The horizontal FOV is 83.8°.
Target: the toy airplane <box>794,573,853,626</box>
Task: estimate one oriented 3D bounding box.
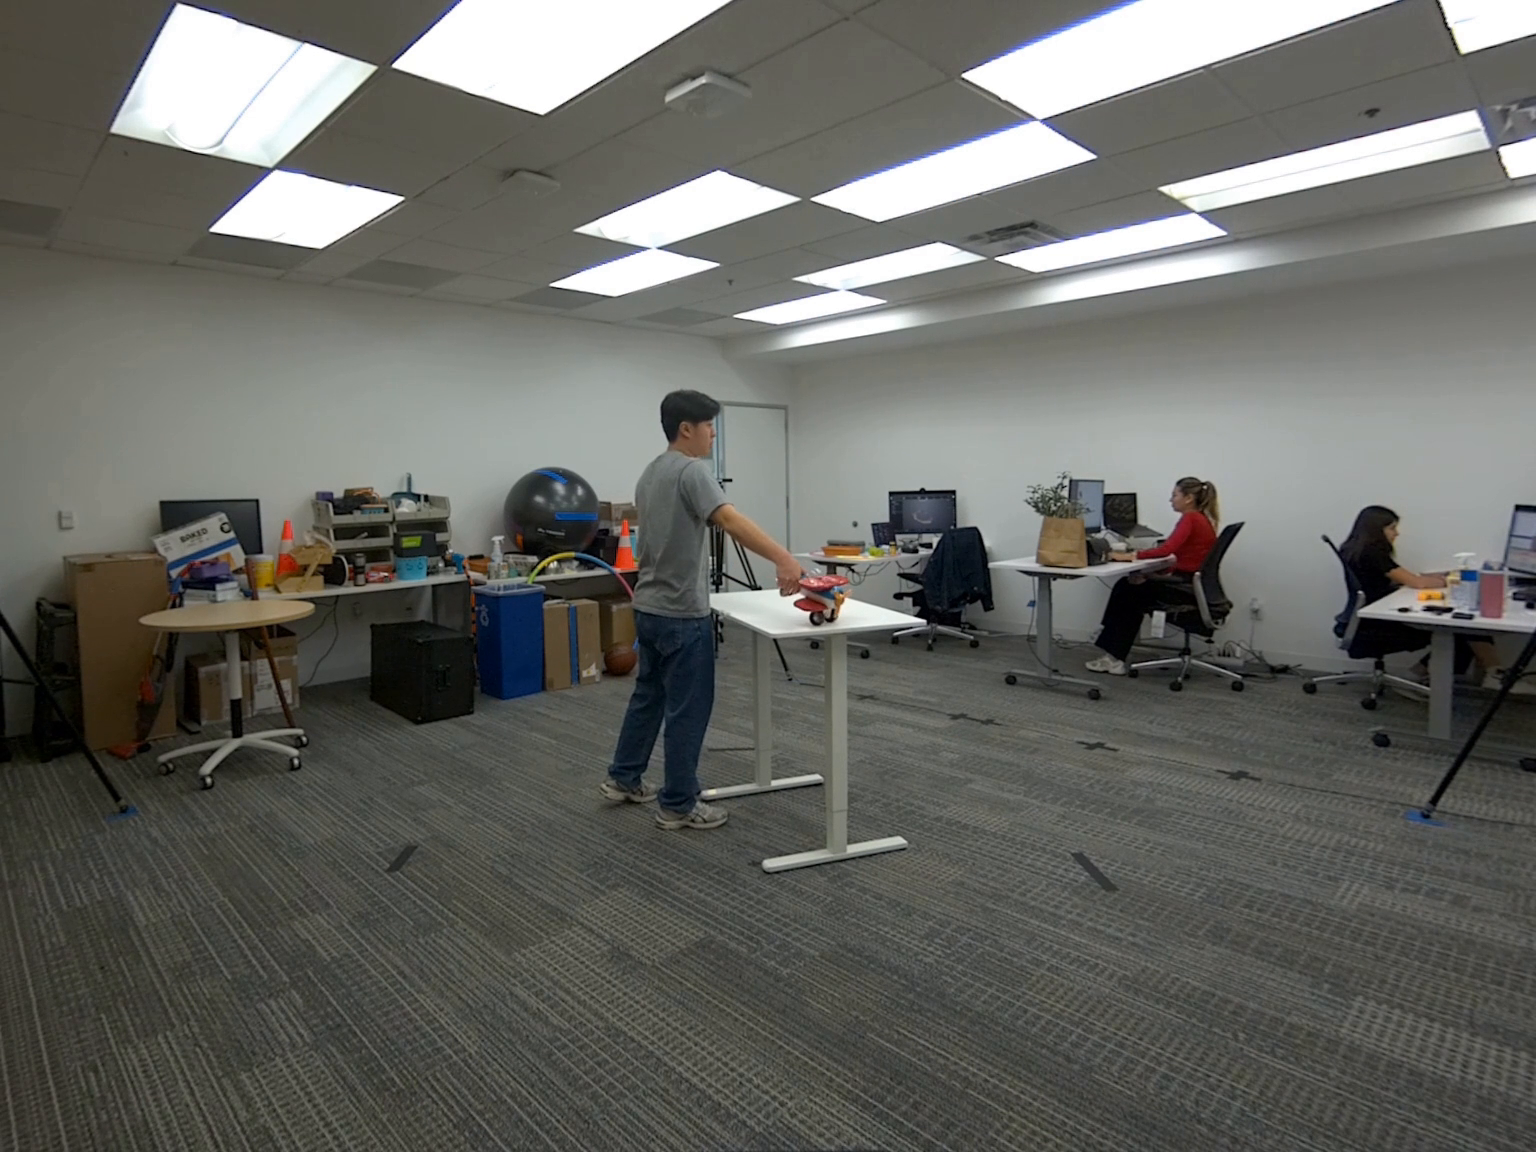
[{"bbox_3d":[0.156,0.059,3.043,0.261,0.155,0.251,26,22,5],"label":"toy airplane"}]
